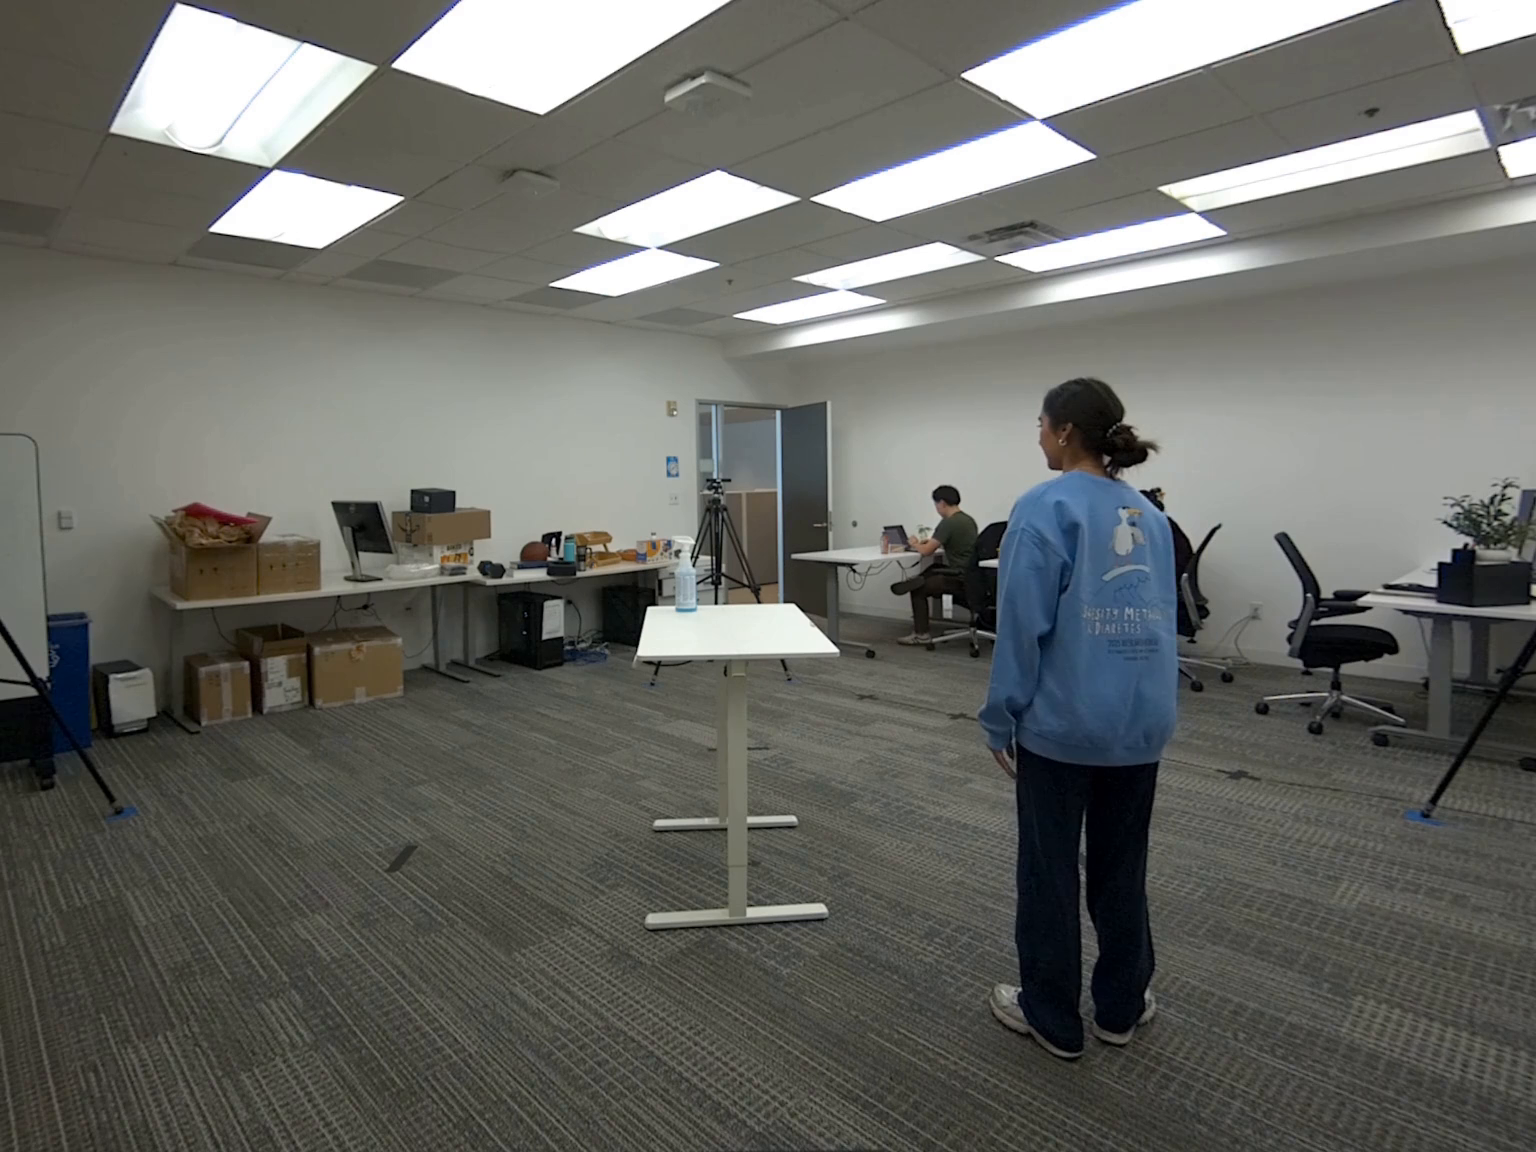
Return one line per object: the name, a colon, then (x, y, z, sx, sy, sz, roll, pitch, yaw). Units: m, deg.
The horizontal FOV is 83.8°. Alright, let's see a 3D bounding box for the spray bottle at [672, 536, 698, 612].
spray bottle: (-0.326, -0.008, 3.369, 0.091, 0.296, 0.086, 1, 6, 14)
